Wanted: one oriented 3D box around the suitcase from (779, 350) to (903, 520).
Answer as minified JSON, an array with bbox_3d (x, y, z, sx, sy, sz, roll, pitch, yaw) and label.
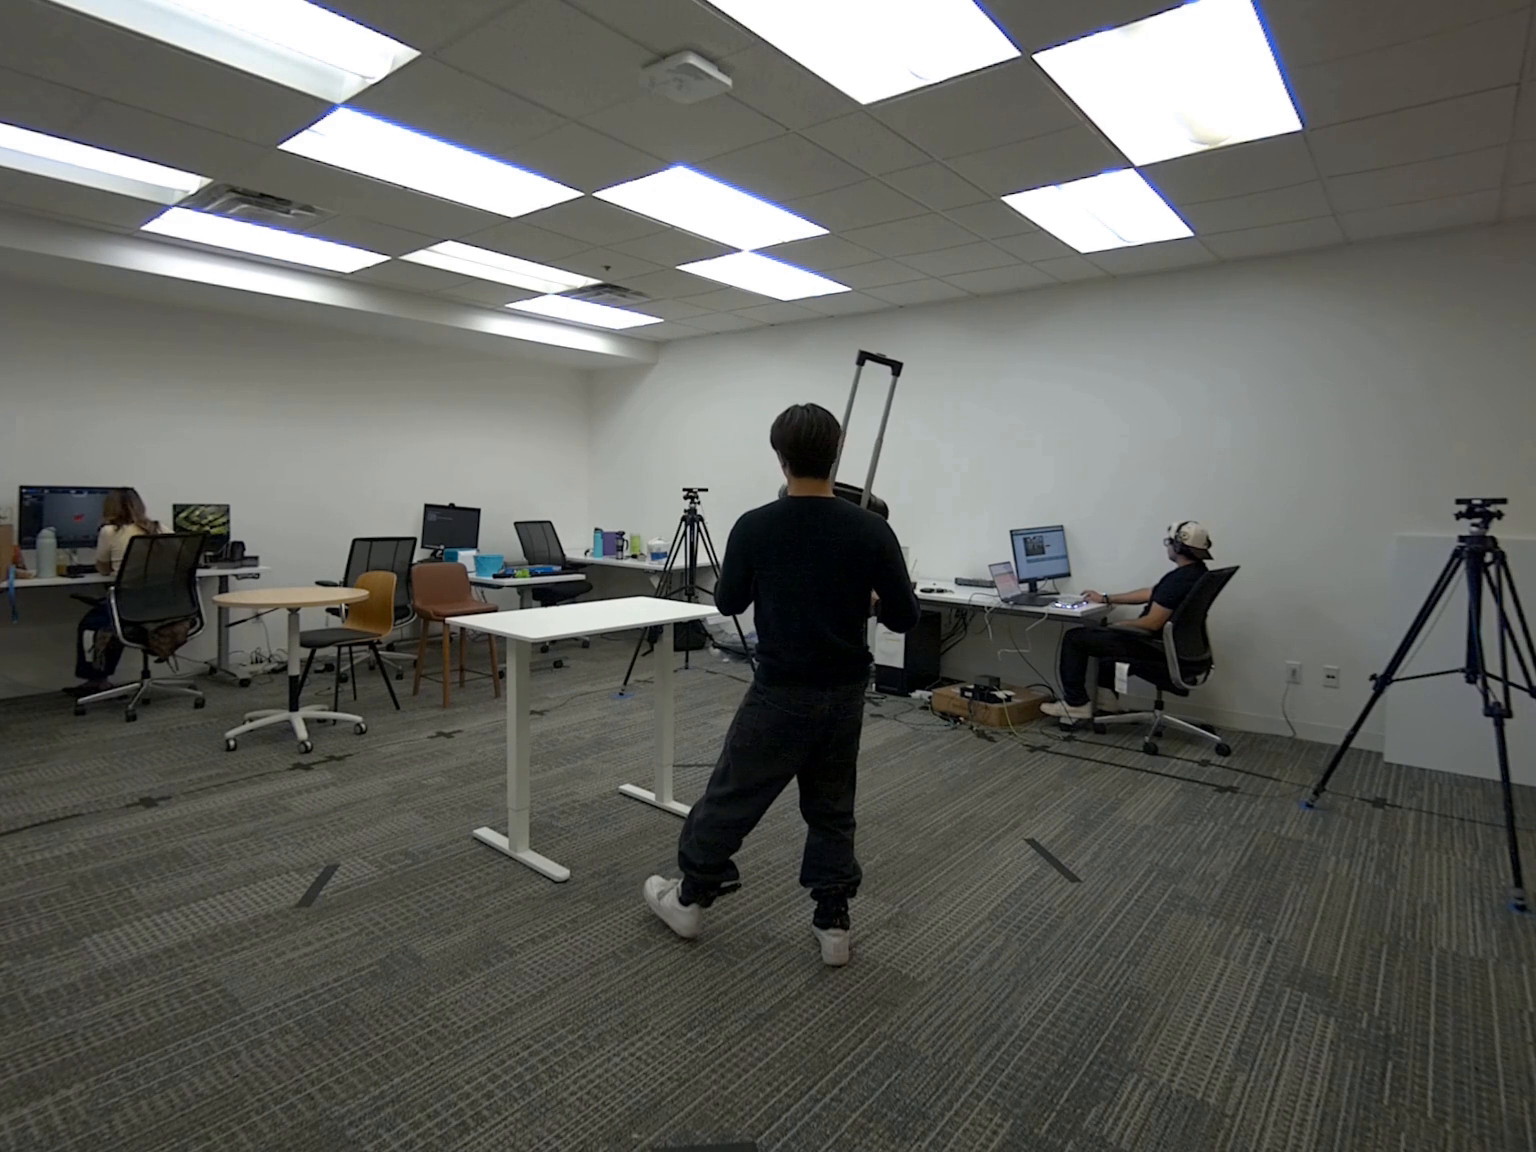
[{"bbox_3d":[0.201,-0.248,2.867,0.377,0.975,0.262,11,4,-15],"label":"suitcase"}]
